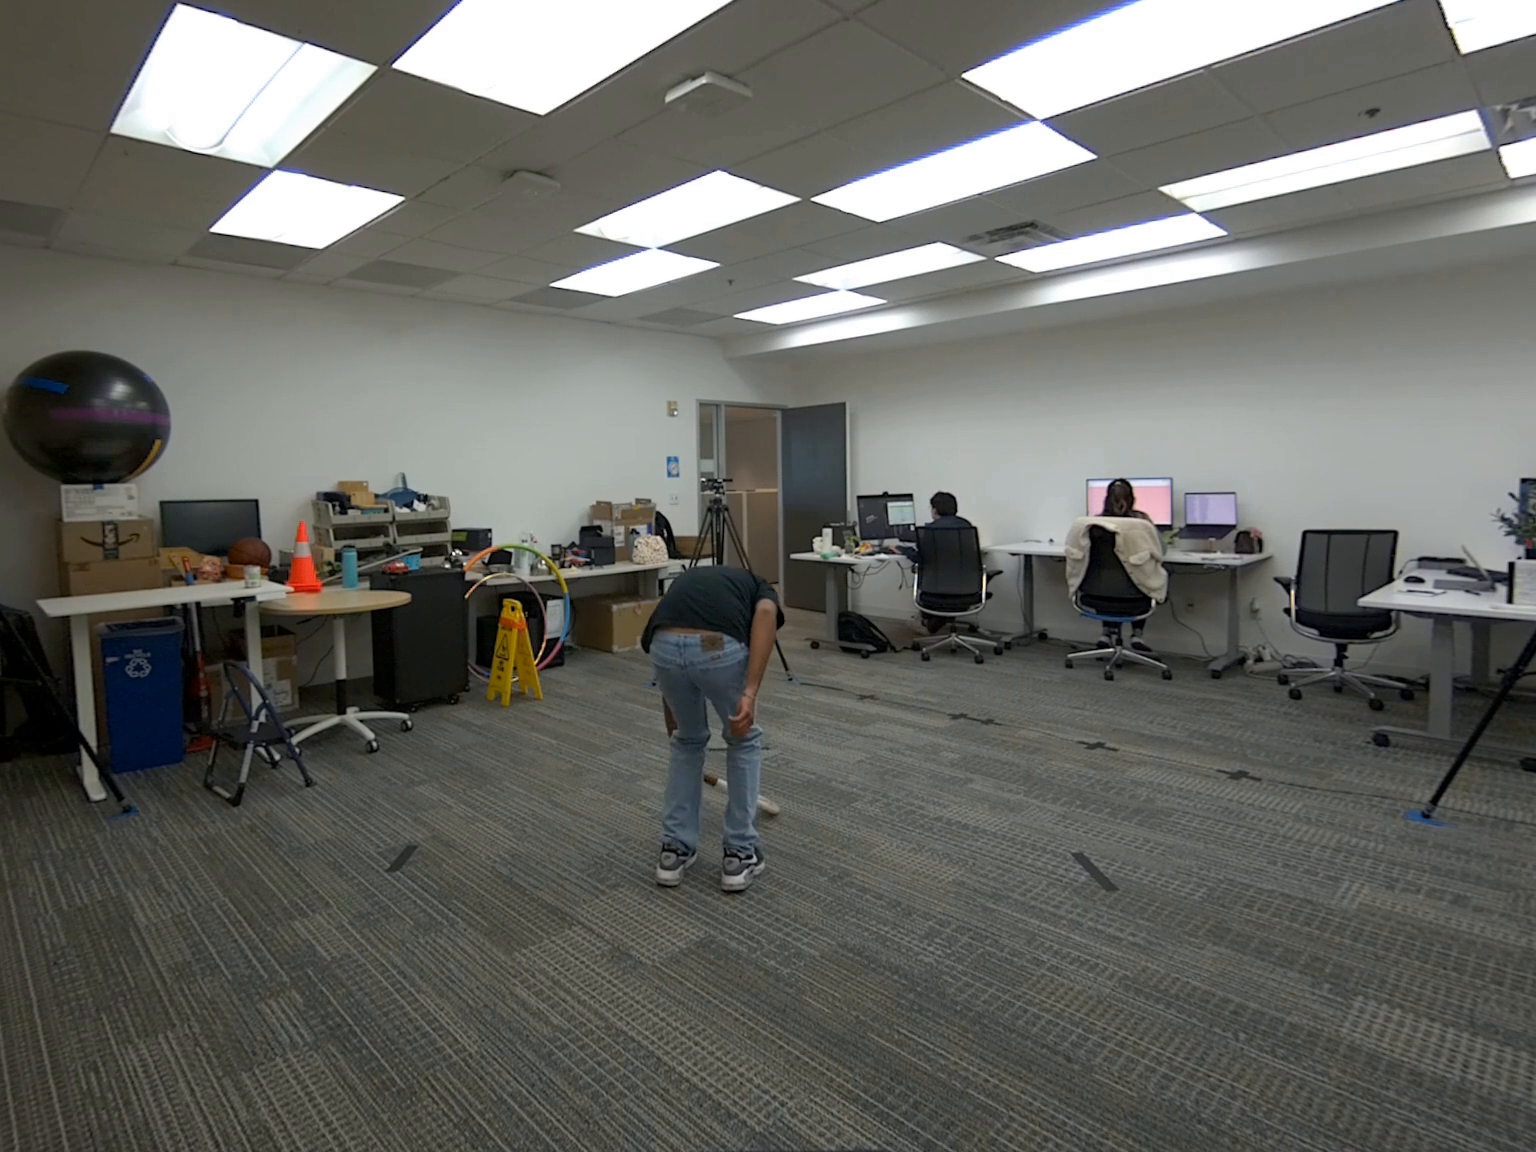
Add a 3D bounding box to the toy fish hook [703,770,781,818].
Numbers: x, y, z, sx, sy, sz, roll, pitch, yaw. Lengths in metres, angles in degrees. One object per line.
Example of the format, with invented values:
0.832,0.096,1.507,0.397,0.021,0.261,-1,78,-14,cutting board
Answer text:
-0.181,0.874,3.561,0.499,0.048,0.227,28,-12,-11,toy fish hook
